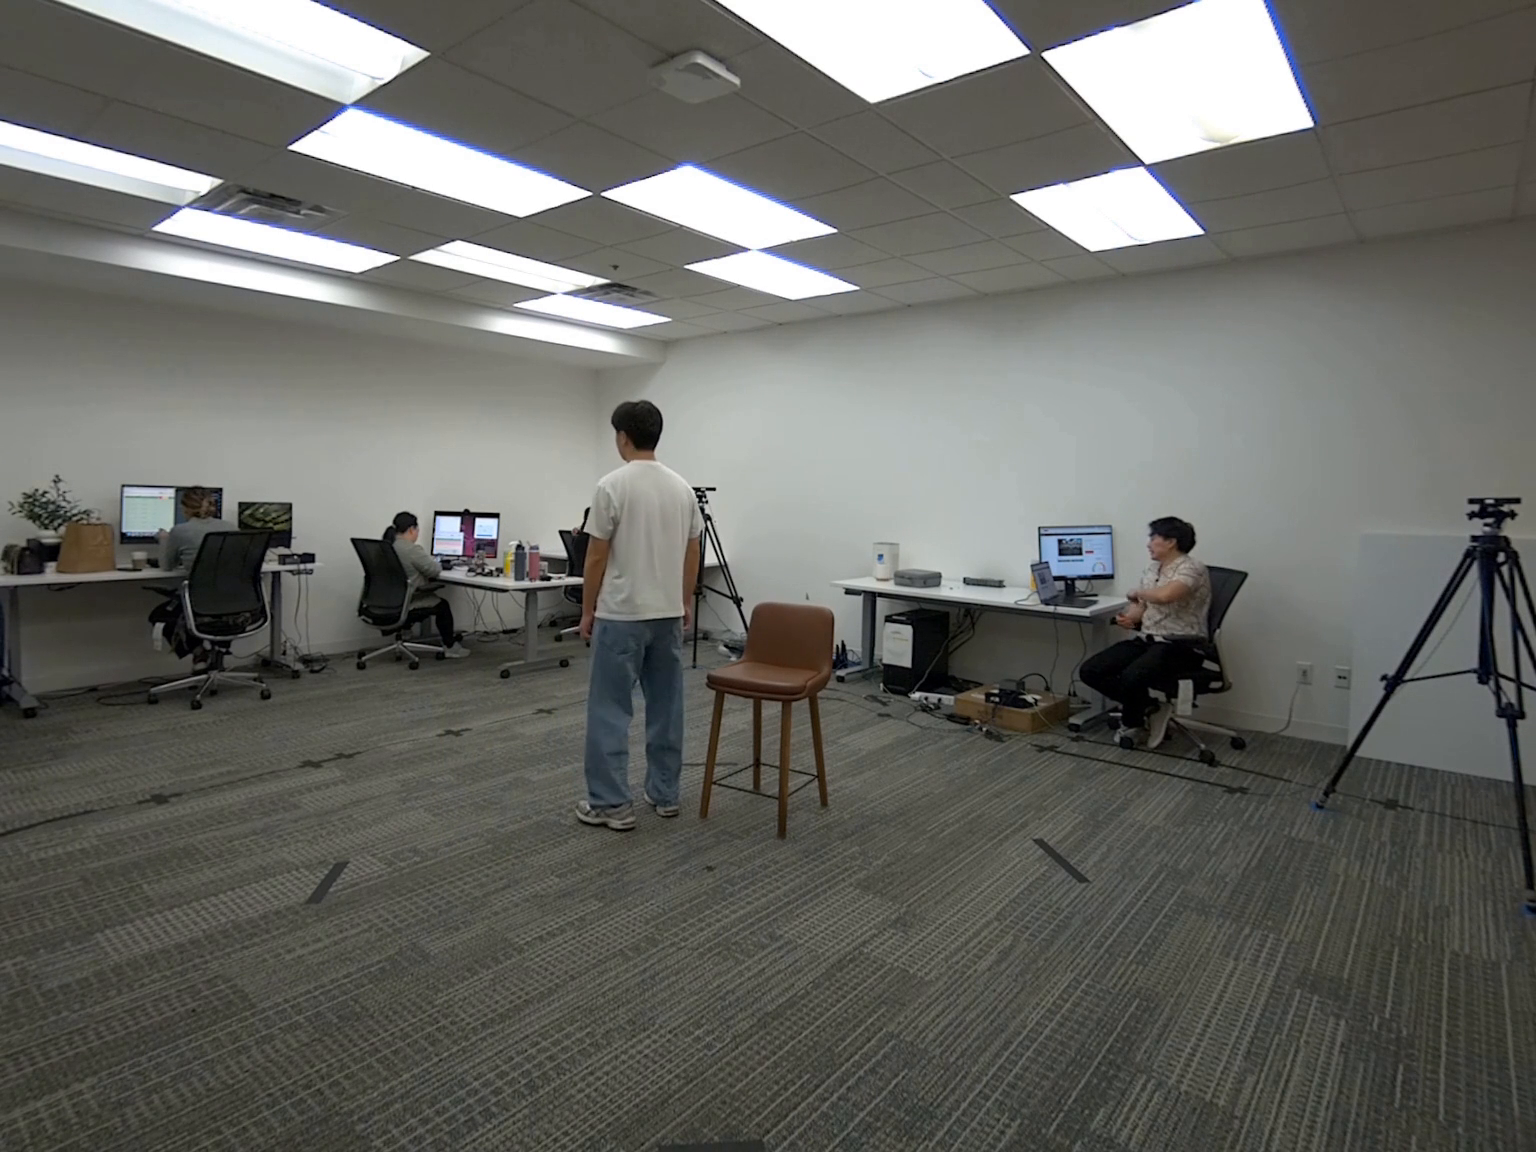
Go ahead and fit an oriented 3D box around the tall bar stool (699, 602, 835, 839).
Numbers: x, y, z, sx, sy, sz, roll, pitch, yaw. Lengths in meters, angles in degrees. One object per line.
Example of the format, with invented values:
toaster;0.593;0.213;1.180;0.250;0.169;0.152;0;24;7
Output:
tall bar stool;-0.001;0.585;3.660;0.470;0.888;0.454;3;2;31
